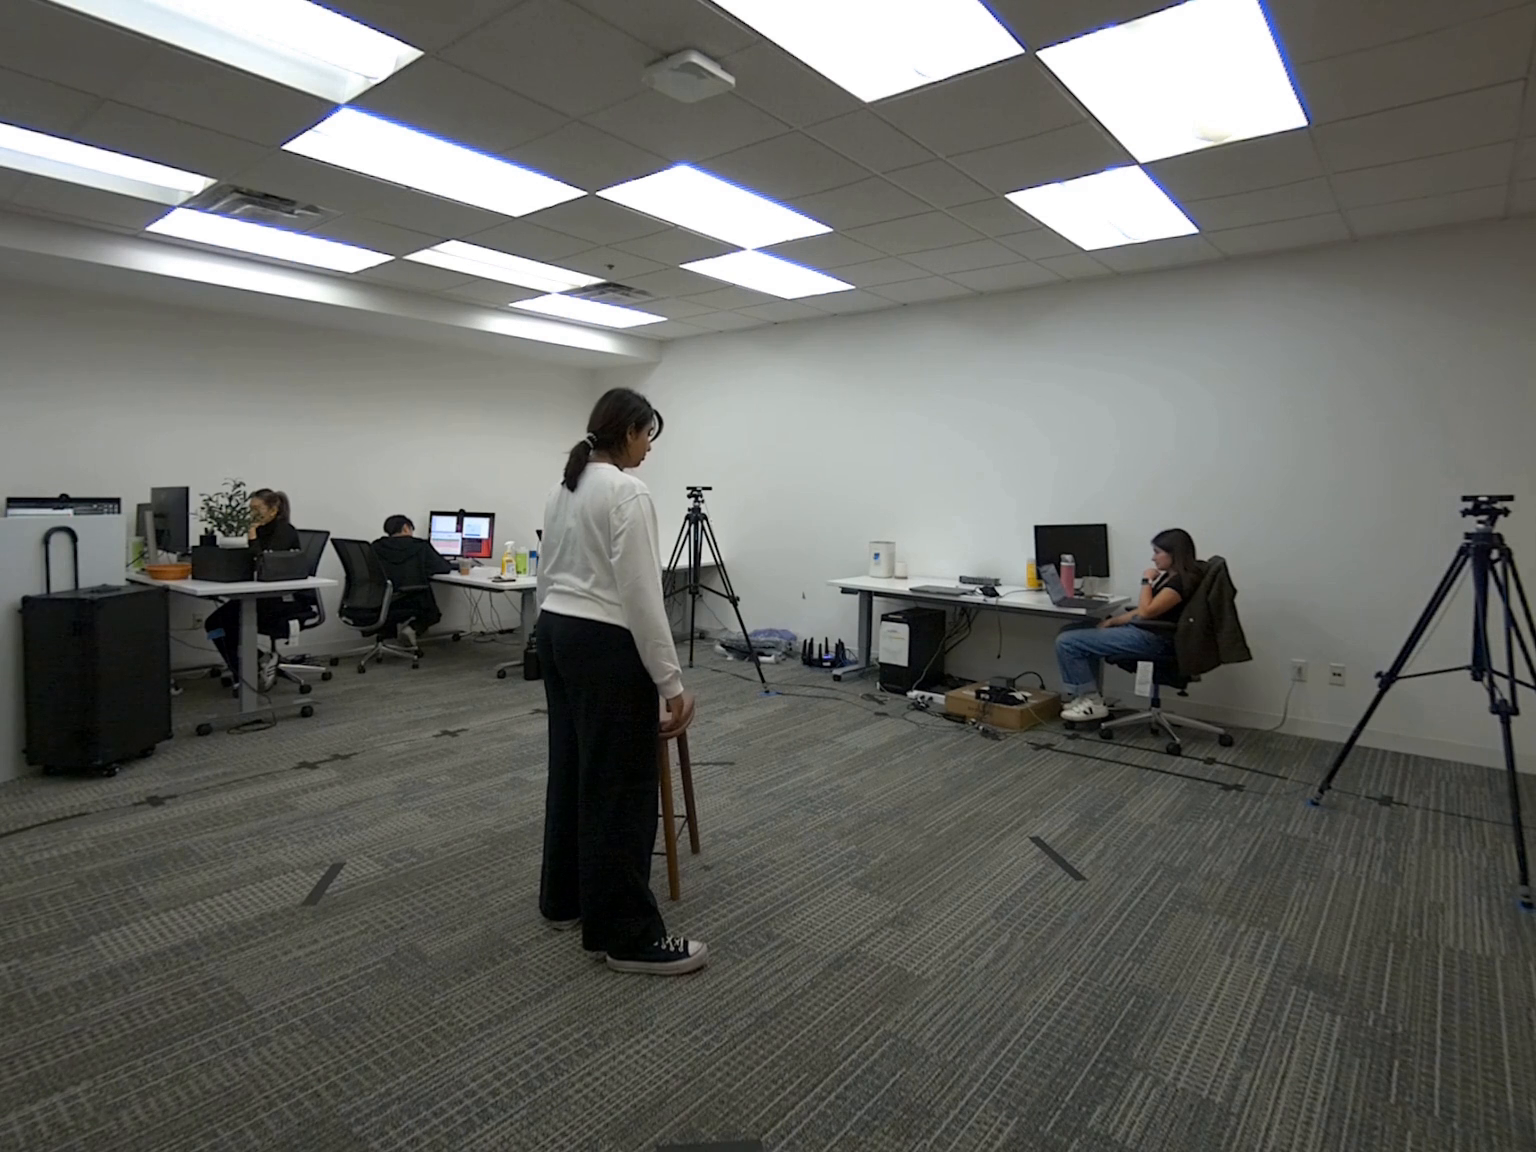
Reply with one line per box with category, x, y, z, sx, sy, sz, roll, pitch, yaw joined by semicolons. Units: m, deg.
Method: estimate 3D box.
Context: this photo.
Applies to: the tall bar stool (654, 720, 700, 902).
tall bar stool;-0.500;0.630;3.067;0.472;0.887;0.453;0;3;9
